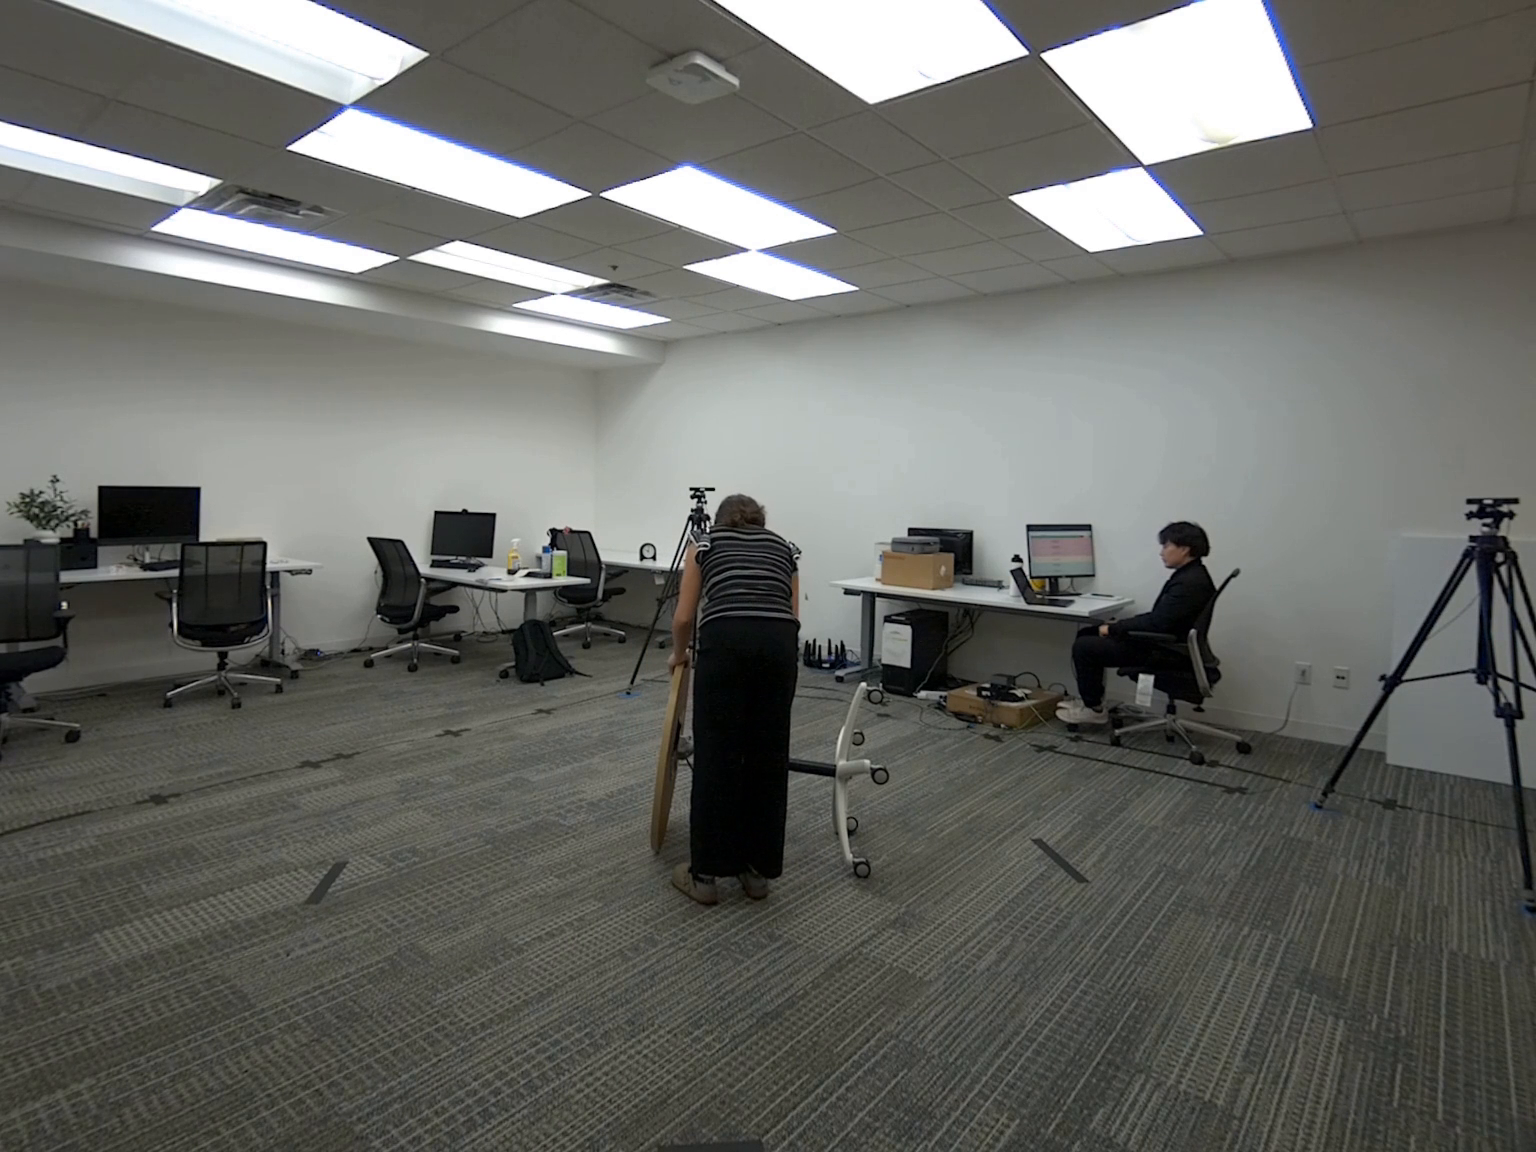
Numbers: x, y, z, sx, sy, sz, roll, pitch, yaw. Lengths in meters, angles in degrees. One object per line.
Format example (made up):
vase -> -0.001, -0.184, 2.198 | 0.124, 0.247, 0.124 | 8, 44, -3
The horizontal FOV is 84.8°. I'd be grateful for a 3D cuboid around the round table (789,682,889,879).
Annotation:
round table -> 0.002, 0.720, 3.300 | 0.796, 0.762, 0.765 | 7, 4, 1
